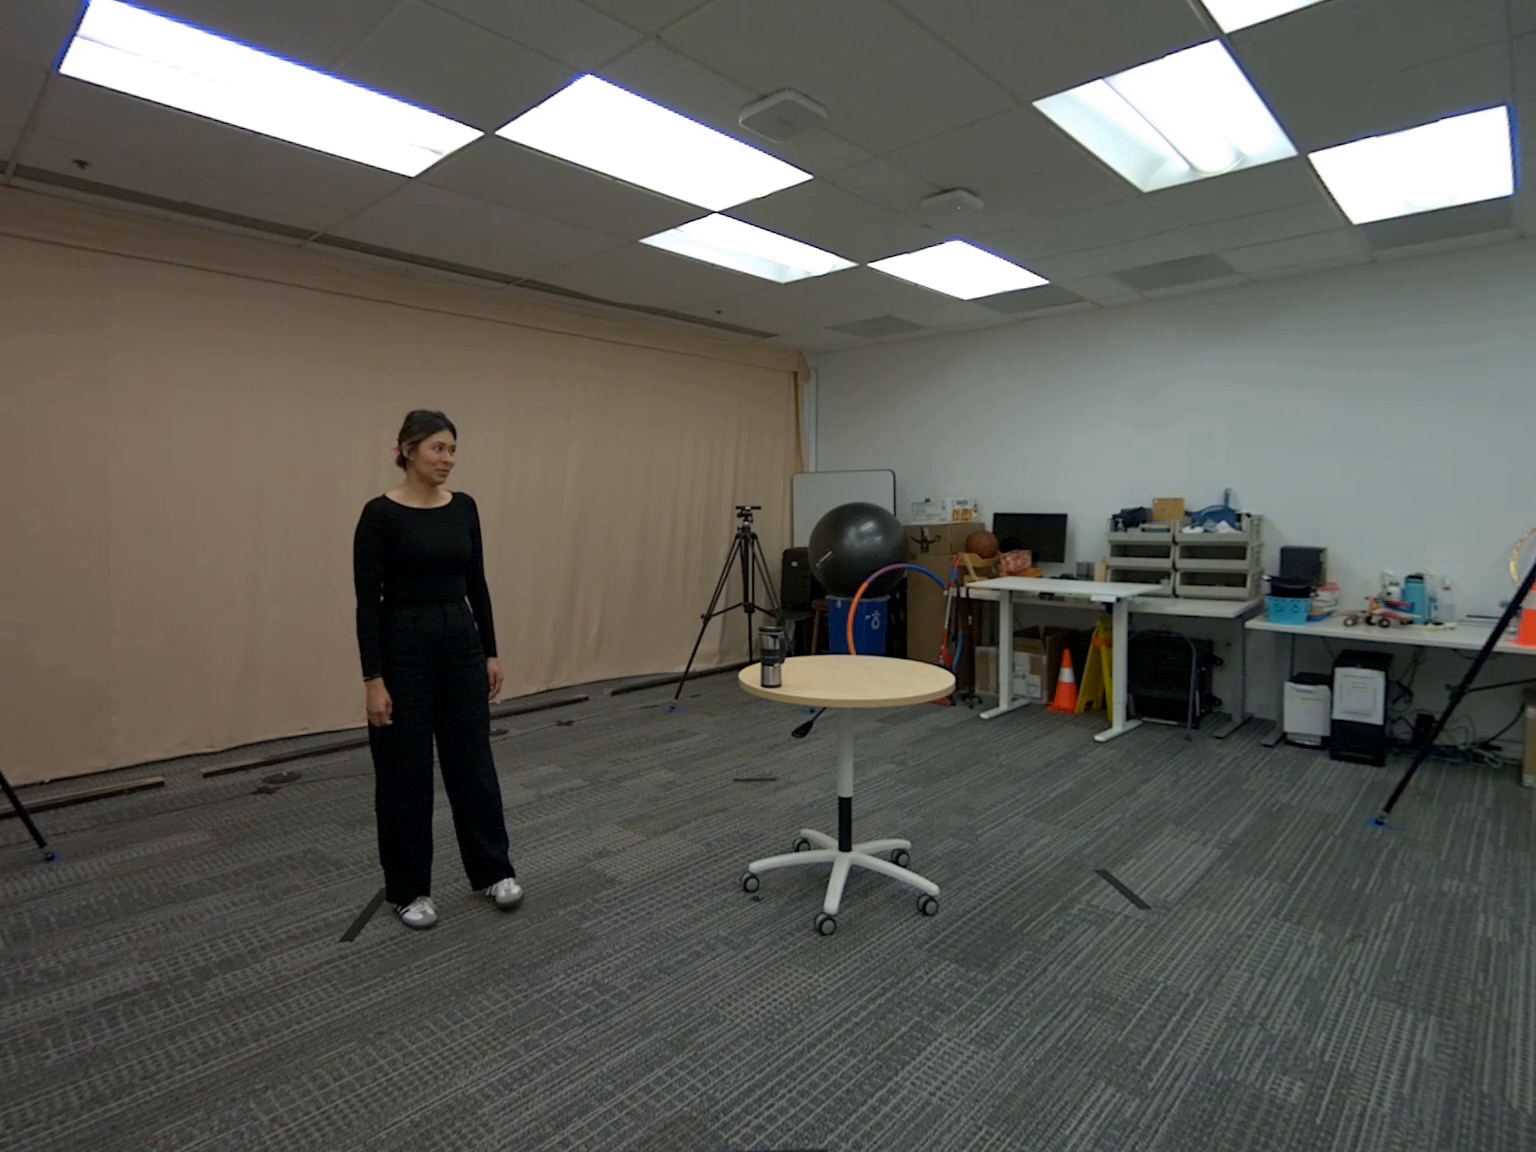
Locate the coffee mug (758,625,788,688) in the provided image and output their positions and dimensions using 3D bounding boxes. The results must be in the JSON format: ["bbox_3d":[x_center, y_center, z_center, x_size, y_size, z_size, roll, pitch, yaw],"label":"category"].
[{"bbox_3d":[-0.002,0.277,2.829,0.091,0.203,0.118,5,1,40],"label":"coffee mug"}]
